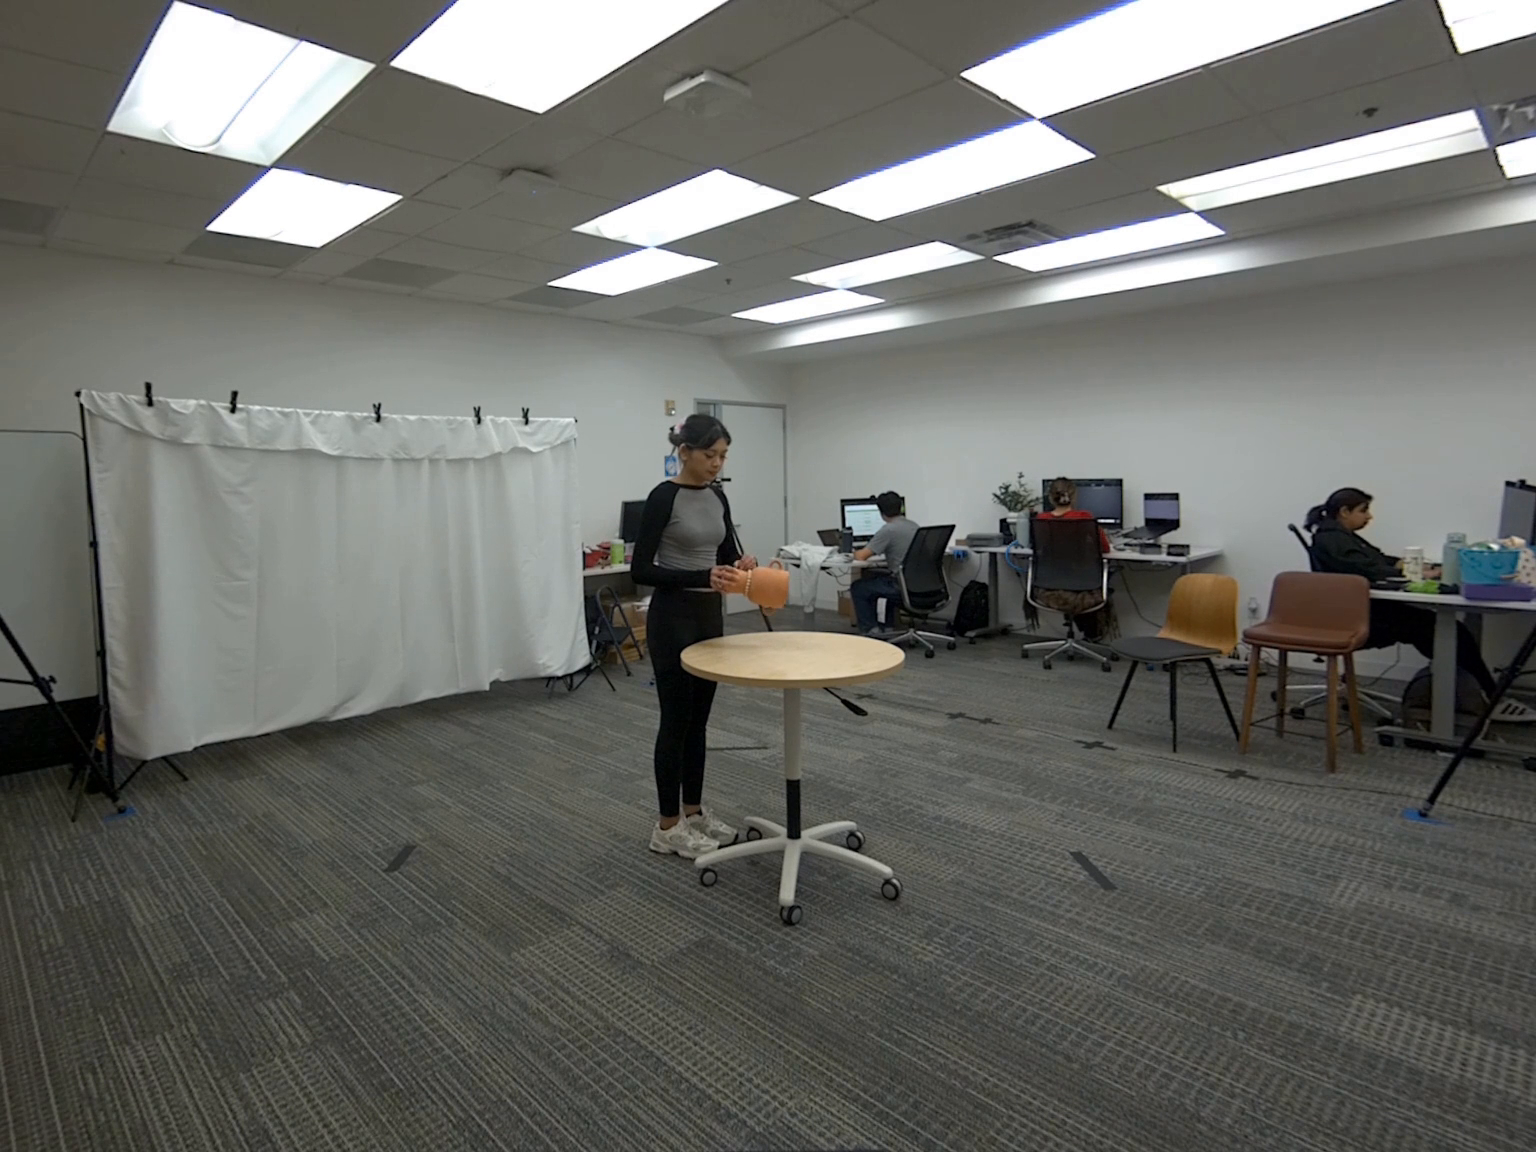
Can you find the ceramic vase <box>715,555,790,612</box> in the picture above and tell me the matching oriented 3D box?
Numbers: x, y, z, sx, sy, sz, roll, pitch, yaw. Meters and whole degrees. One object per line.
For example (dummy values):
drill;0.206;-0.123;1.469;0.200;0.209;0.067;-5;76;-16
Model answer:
ceramic vase;-0.032;0.028;3.003;0.220;0.162;0.132;8;-40;-1
